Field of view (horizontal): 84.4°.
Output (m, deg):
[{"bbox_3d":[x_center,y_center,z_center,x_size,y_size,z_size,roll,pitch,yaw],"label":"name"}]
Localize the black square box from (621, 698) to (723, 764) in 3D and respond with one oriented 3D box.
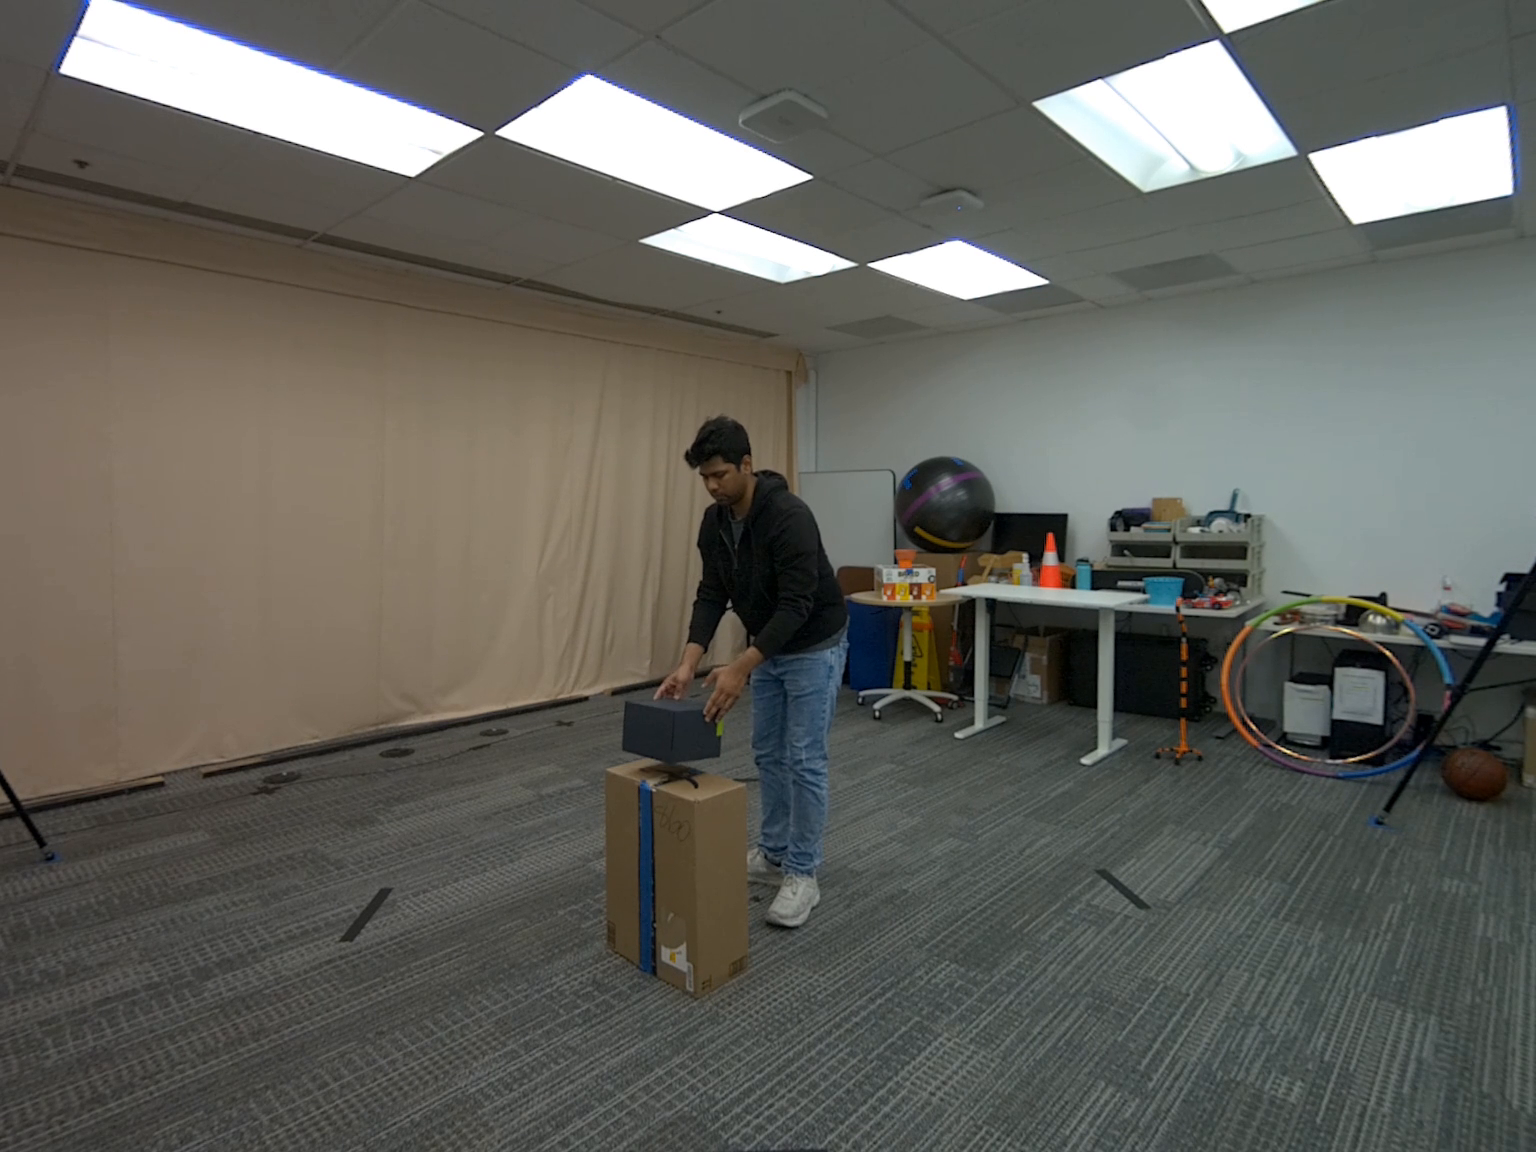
[{"bbox_3d":[-0.295,0.480,2.636,0.235,0.156,0.209,2,-3,42],"label":"black square box"}]
